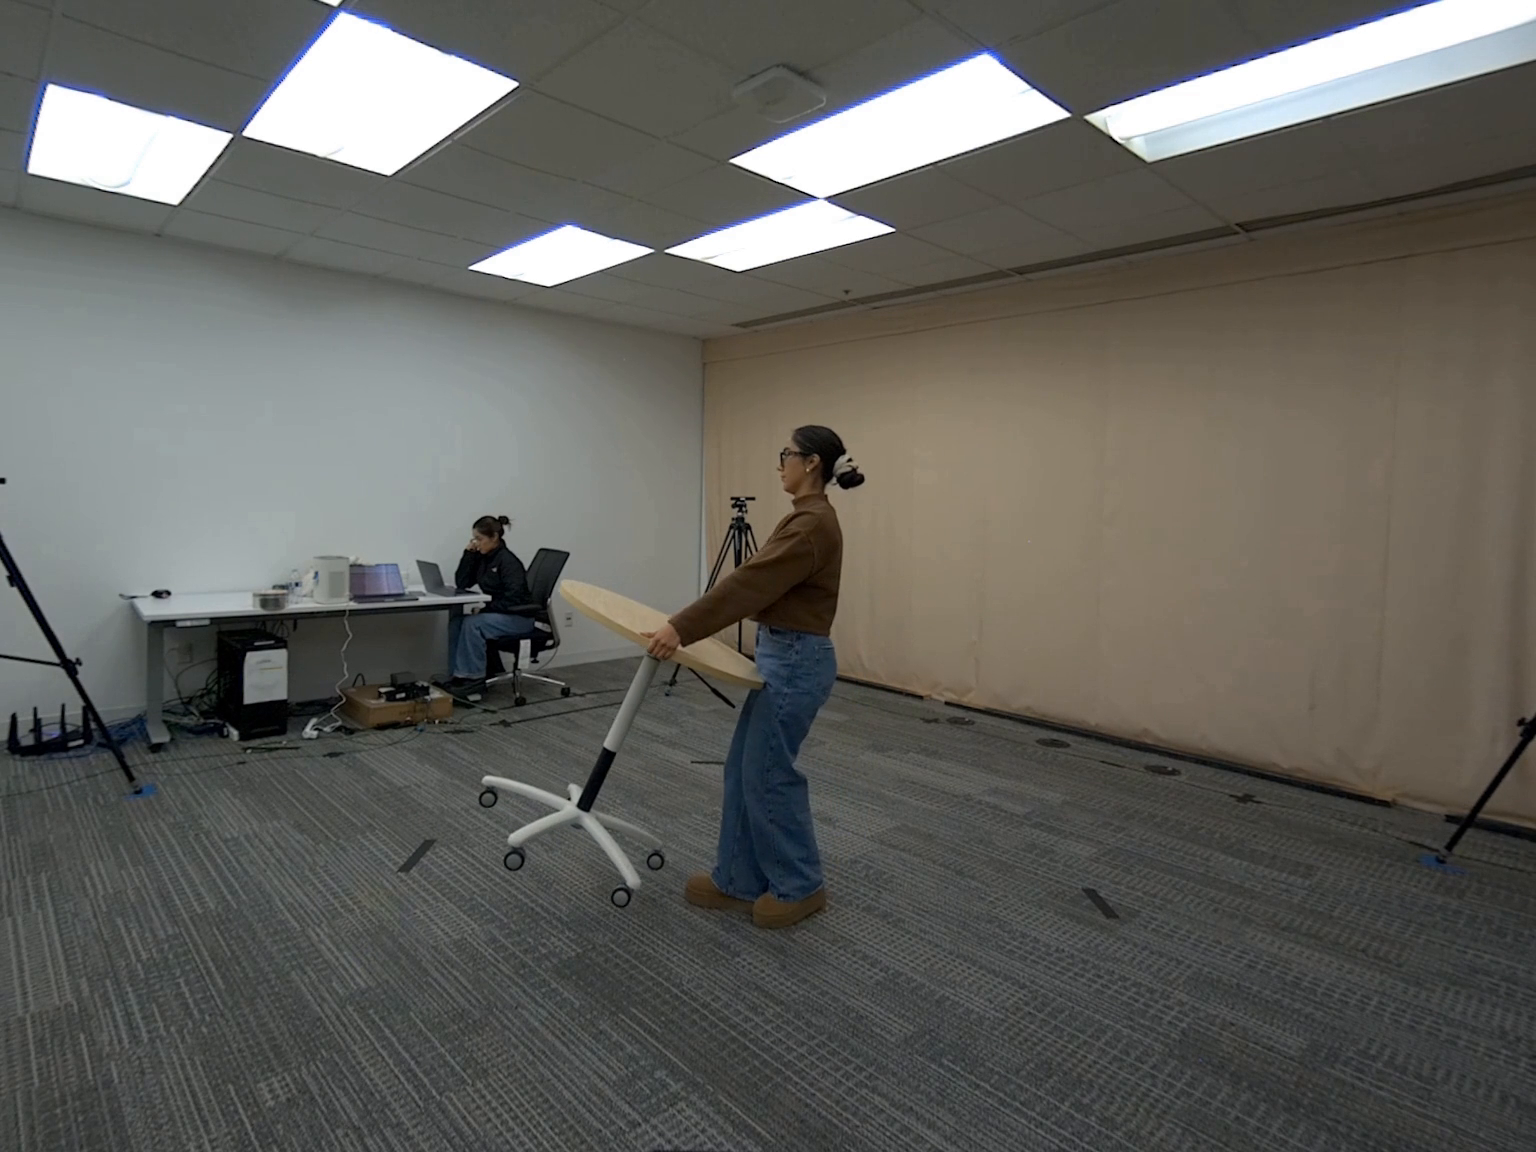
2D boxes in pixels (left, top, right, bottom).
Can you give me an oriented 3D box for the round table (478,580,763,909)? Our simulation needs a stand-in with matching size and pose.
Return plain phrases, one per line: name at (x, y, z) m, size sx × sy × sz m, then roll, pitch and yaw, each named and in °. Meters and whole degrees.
round table at (-0.518, 0.534, 2.794) m, size 0.785 × 0.786 × 0.785 m, roll 25°, pitch 0°, yaw -1°
